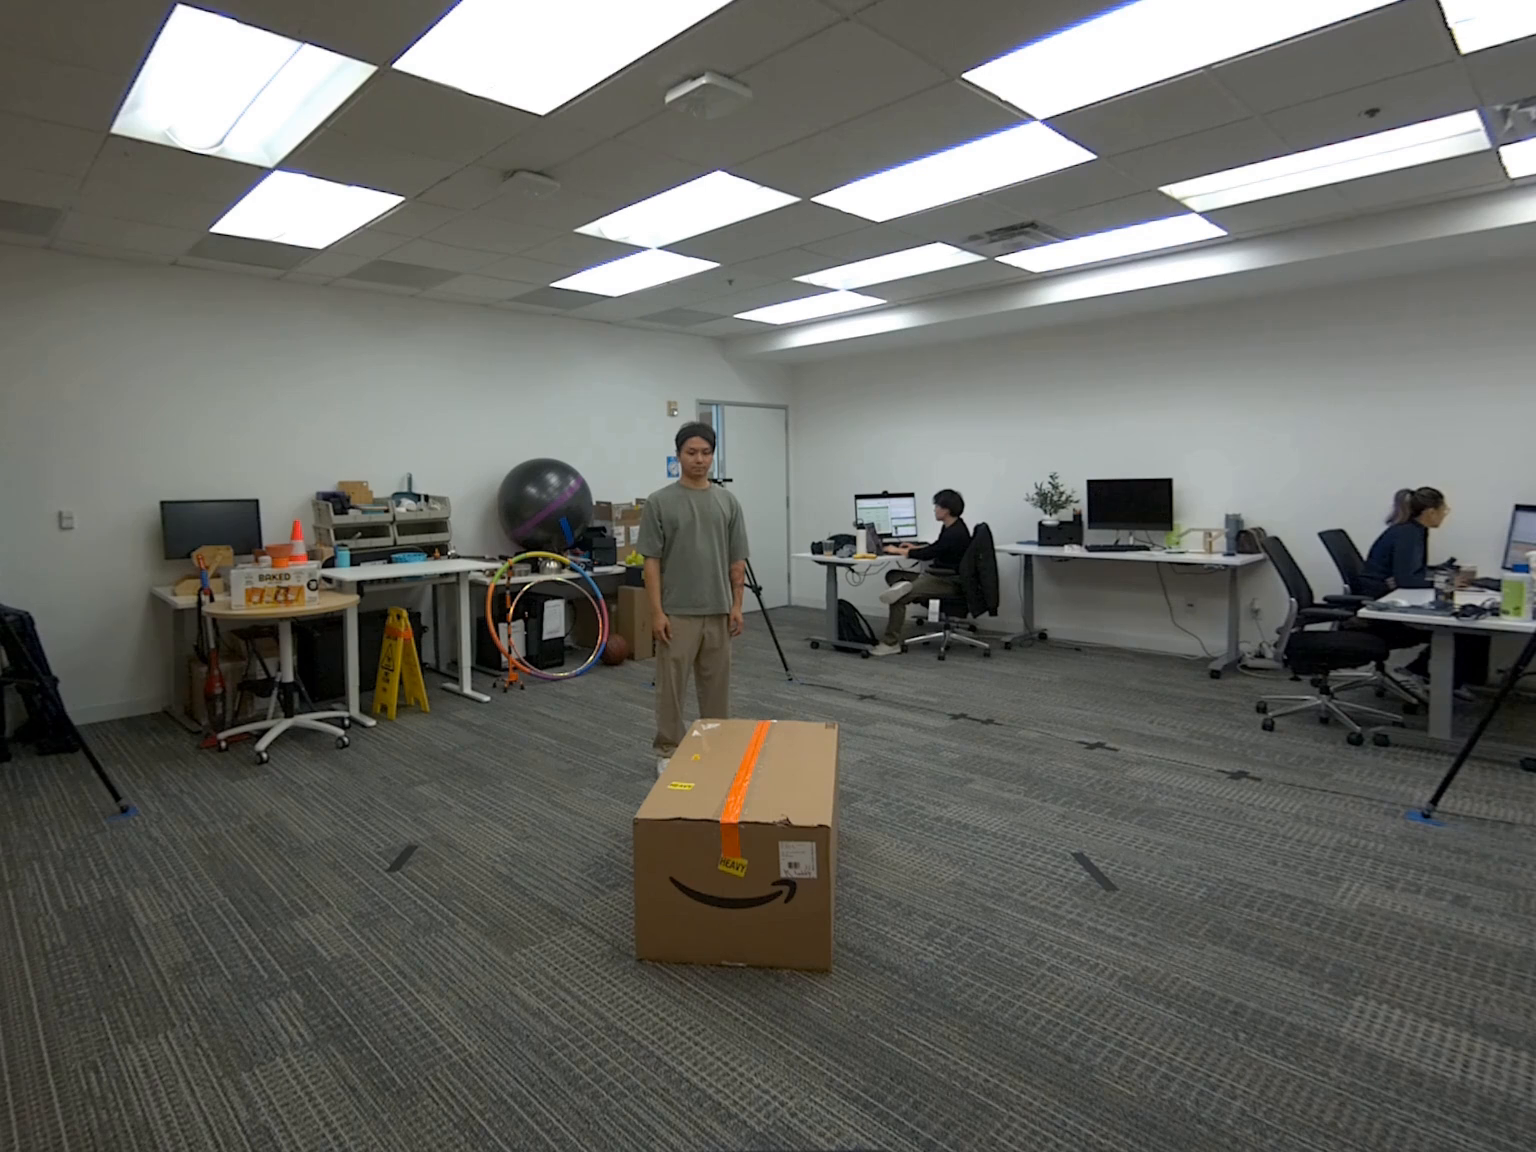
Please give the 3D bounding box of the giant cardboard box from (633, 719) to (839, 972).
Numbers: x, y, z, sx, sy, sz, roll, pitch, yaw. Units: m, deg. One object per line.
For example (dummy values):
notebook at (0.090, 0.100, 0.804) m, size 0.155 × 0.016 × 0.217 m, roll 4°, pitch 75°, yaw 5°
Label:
giant cardboard box at (-0.054, 0.848, 2.940) m, size 0.582 × 0.424 × 1.023 m, roll 0°, pitch 6°, yaw 6°
